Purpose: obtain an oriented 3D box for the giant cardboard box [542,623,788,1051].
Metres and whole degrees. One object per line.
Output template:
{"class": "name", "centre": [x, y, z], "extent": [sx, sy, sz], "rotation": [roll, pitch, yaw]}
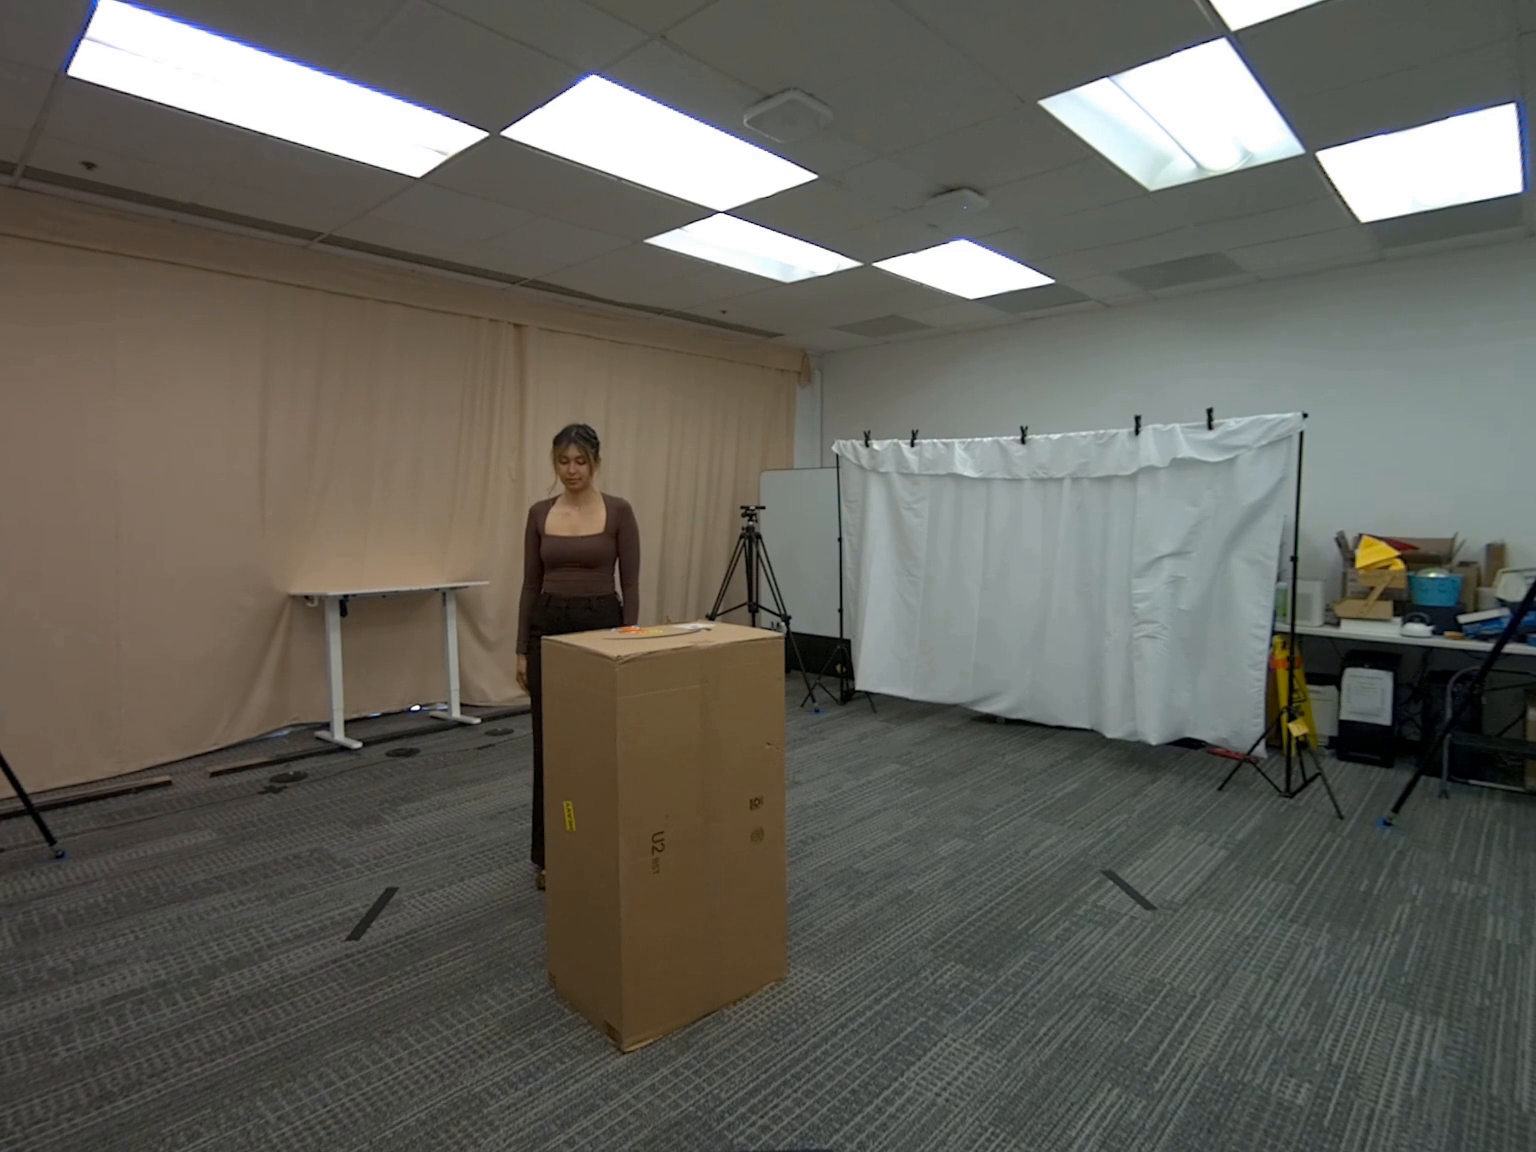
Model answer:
{"class": "giant cardboard box", "centre": [-0.294, 0.680, 2.453], "extent": [0.566, 1.025, 0.461], "rotation": [-2, 3, -38]}
